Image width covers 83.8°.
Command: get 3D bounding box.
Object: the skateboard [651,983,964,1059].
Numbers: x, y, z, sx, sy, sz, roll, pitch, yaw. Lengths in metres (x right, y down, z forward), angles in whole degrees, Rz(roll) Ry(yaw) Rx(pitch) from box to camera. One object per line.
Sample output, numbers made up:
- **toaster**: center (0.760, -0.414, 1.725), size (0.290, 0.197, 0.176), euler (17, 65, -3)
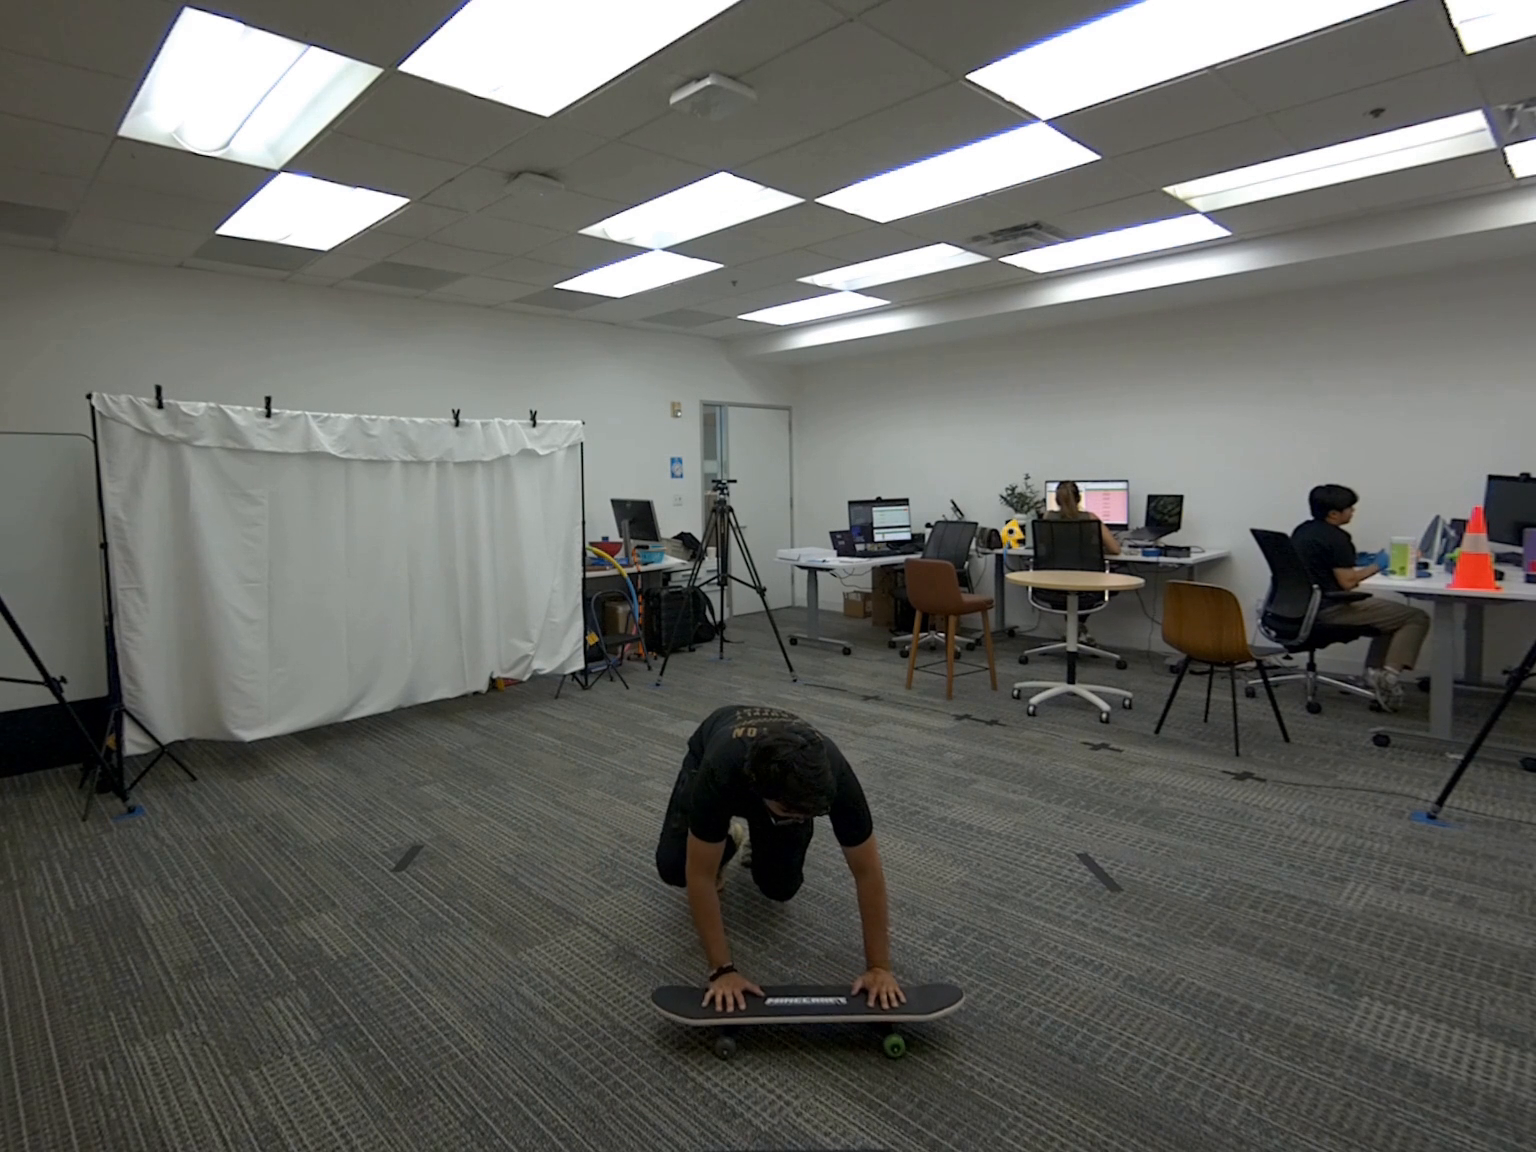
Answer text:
- **skateboard**: center (0.103, 1.099, 2.144), size (0.786, 0.111, 0.192), euler (-2, -4, 0)
